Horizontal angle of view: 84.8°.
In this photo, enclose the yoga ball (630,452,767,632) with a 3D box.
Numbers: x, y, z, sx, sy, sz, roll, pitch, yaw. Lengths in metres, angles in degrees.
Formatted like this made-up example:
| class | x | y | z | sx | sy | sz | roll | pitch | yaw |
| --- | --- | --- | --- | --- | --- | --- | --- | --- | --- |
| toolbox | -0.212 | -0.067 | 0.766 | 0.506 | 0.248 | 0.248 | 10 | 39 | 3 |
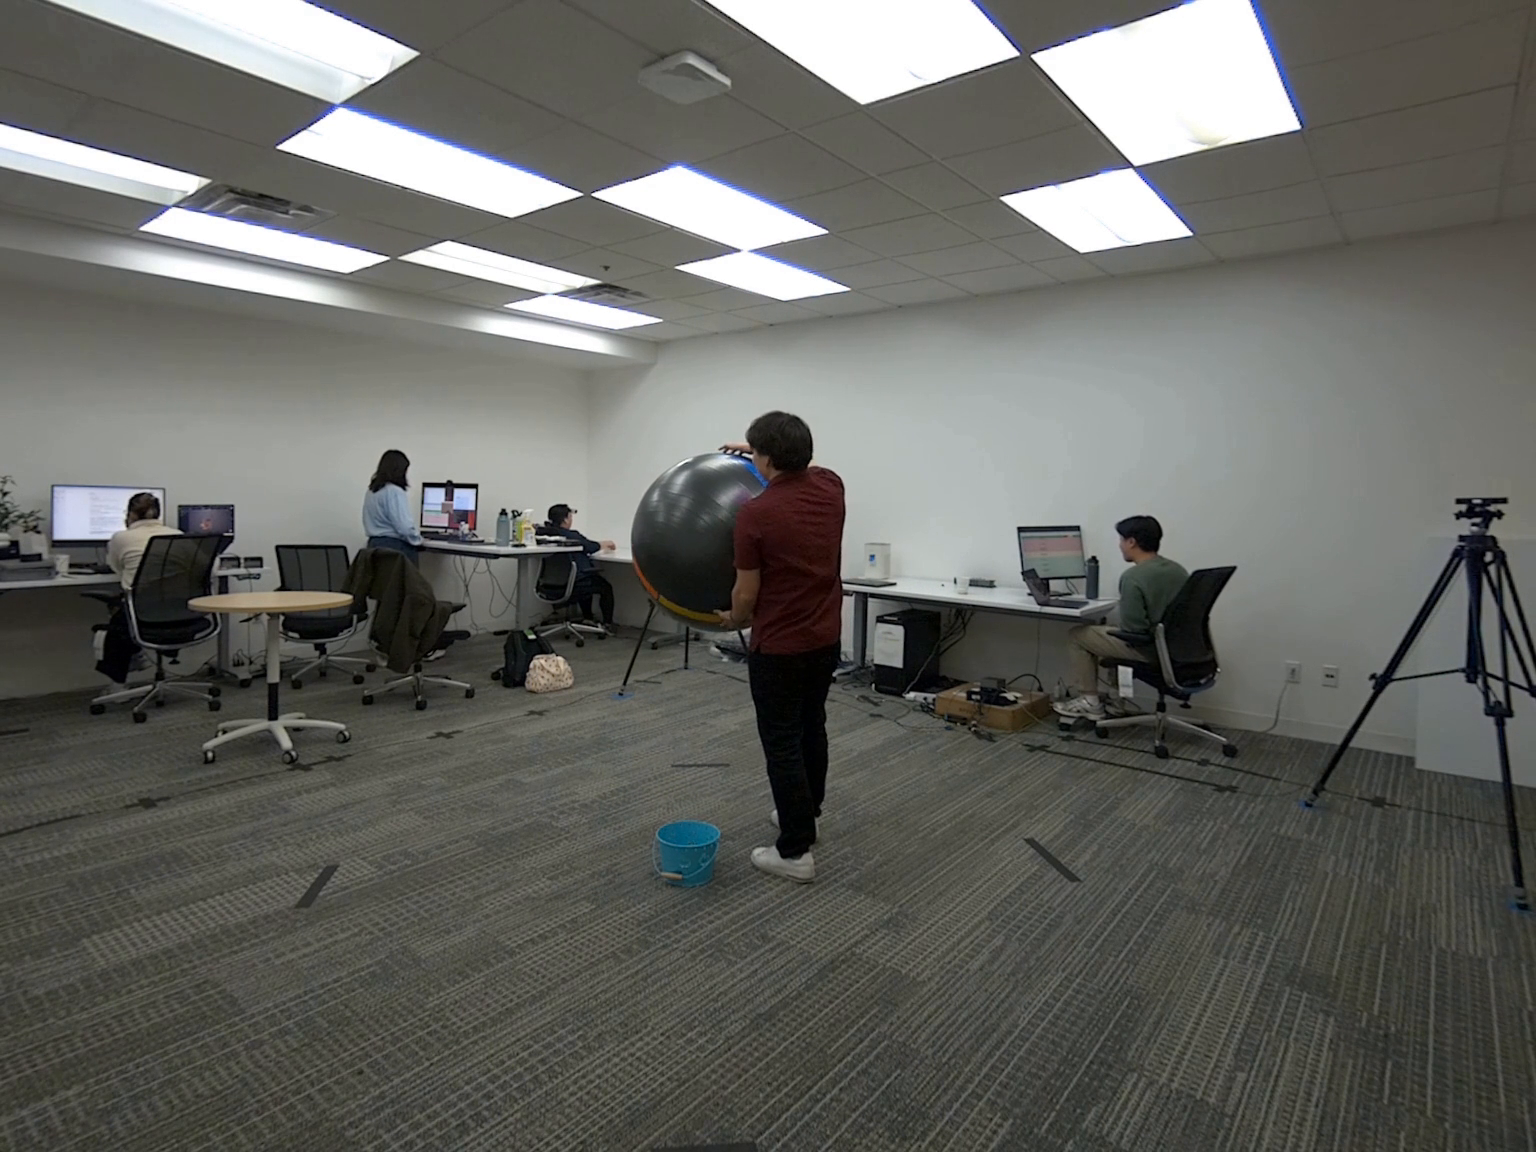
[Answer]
| class | x | y | z | sx | sy | sz | roll | pitch | yaw |
| --- | --- | --- | --- | --- | --- | --- | --- | --- | --- |
| yoga ball | -0.214 | -0.146 | 3.629 | 0.757 | 0.756 | 0.761 | 1 | 4 | -2 |
